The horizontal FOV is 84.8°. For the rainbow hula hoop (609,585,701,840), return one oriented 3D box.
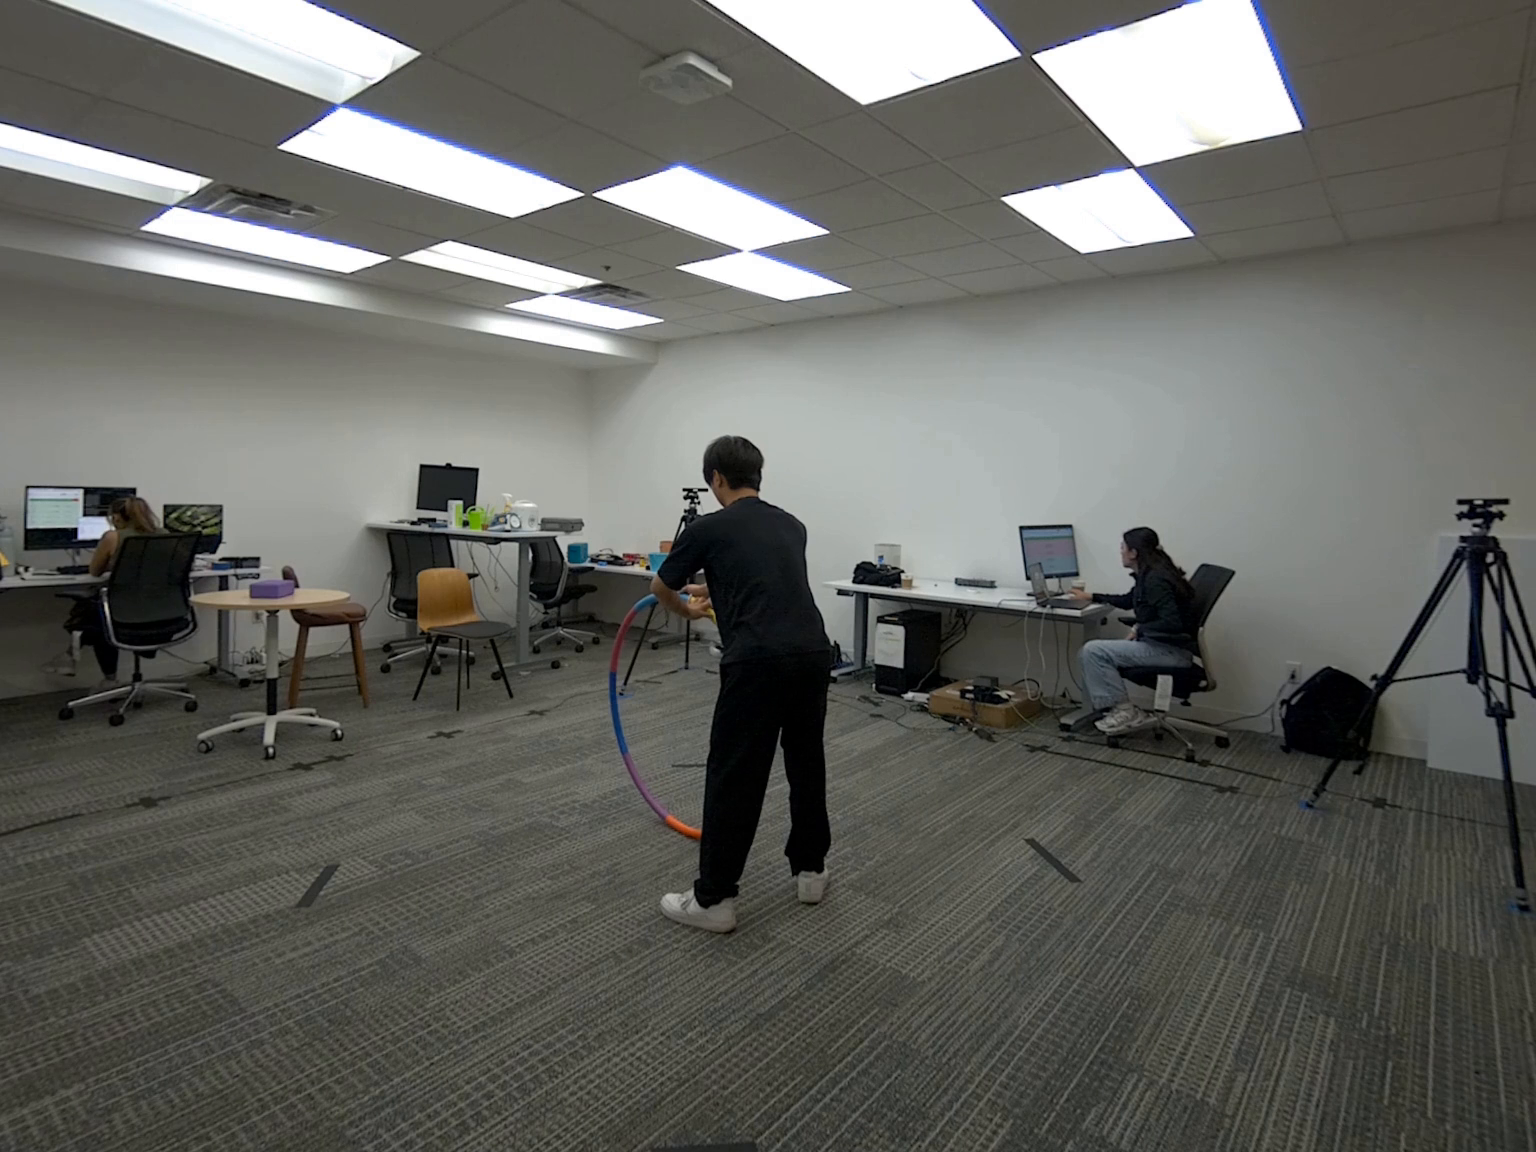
[{"bbox_3d":[-0.365,0.553,3.416,0.034,0.974,1.012,-5,7,-42],"label":"rainbow hula hoop"}]
